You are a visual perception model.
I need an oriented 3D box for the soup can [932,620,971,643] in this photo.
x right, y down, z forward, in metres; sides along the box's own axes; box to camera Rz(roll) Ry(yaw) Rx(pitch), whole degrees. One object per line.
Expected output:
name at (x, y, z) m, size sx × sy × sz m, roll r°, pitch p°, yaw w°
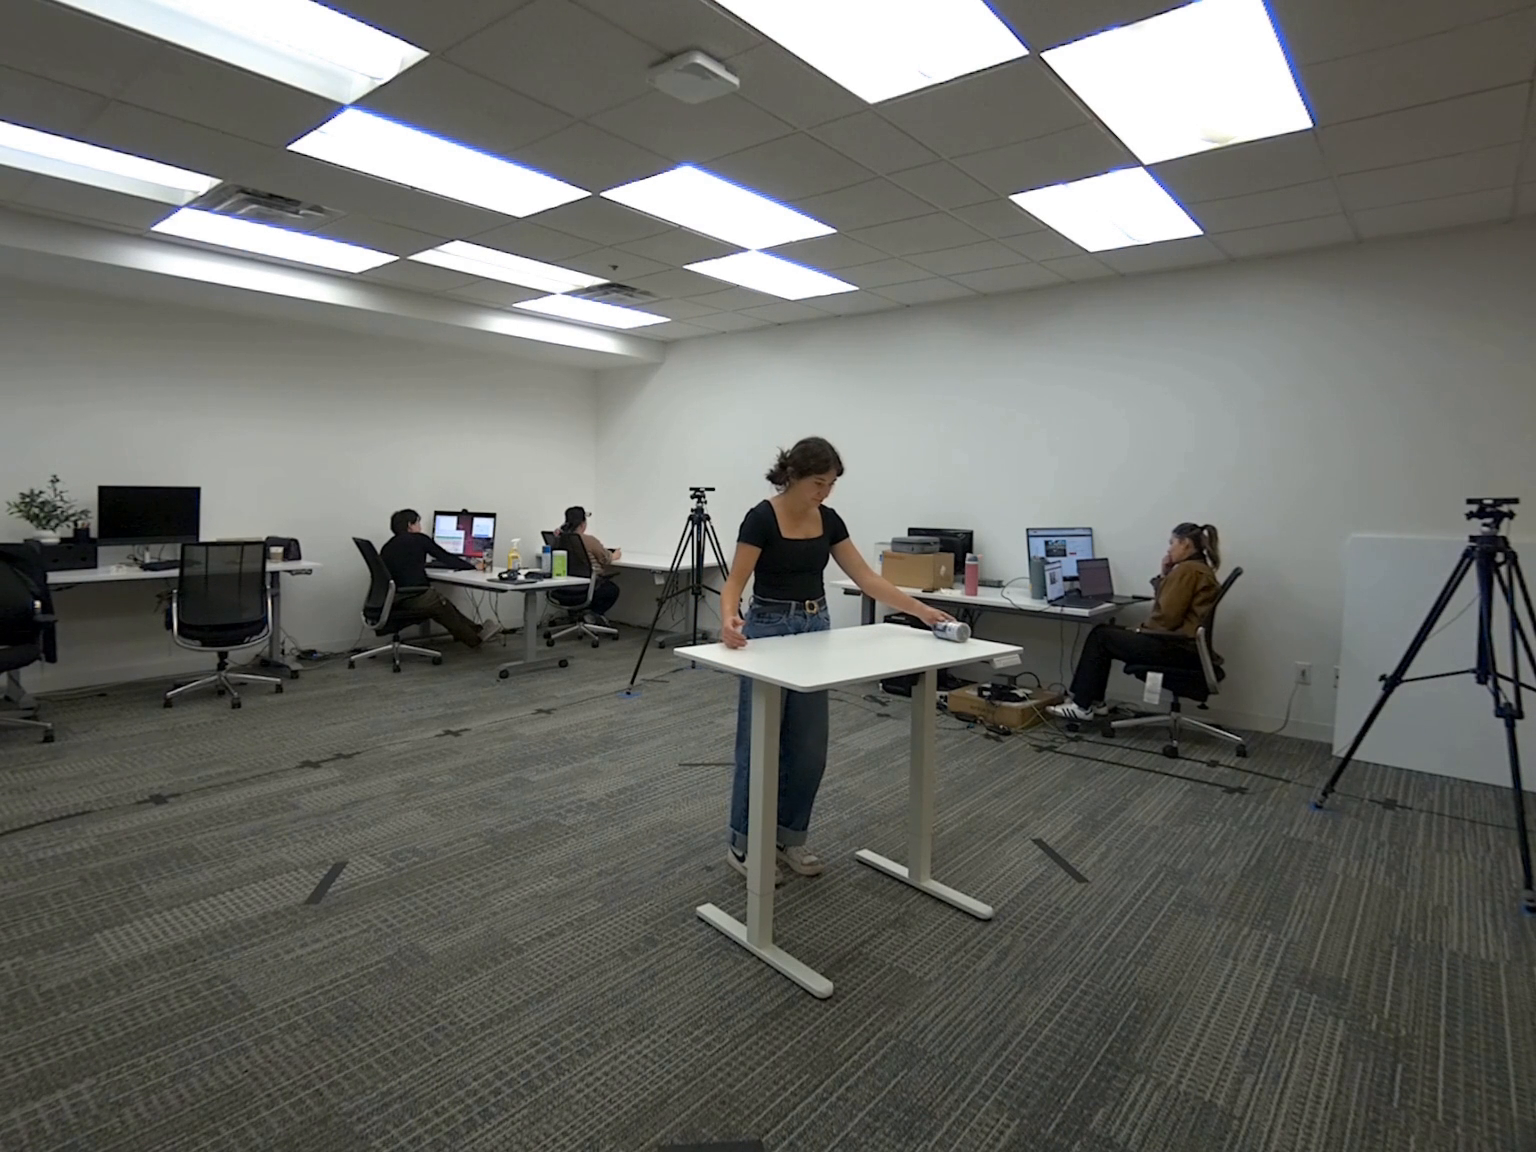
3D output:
soup can at (0.625, 0.184, 2.937) m, size 0.065 × 0.067 × 0.125 m, roll -1°, pitch 5°, yaw -28°
